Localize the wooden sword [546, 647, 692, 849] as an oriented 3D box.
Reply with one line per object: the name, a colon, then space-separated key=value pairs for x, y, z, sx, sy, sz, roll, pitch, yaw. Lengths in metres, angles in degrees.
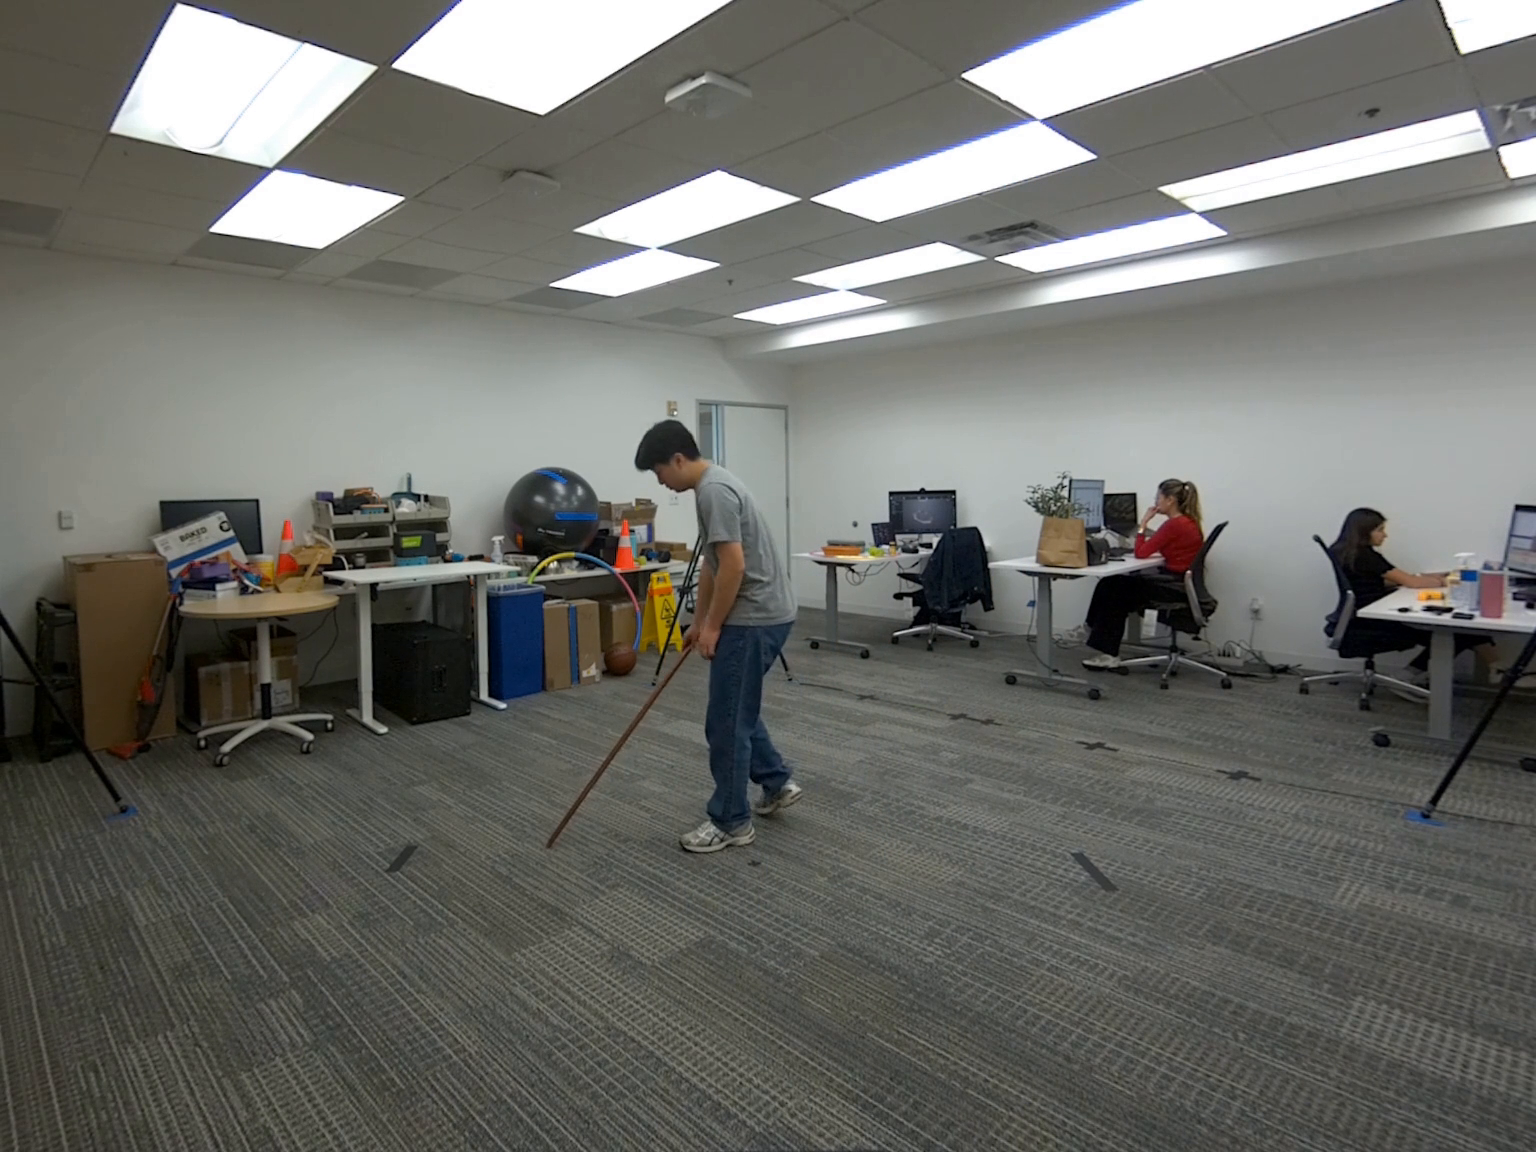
wooden sword: x=-0.572 y=0.658 z=3.468 sx=0.023 sy=1.027 sz=0.052 roll=46 pitch=-25 yaw=-21
